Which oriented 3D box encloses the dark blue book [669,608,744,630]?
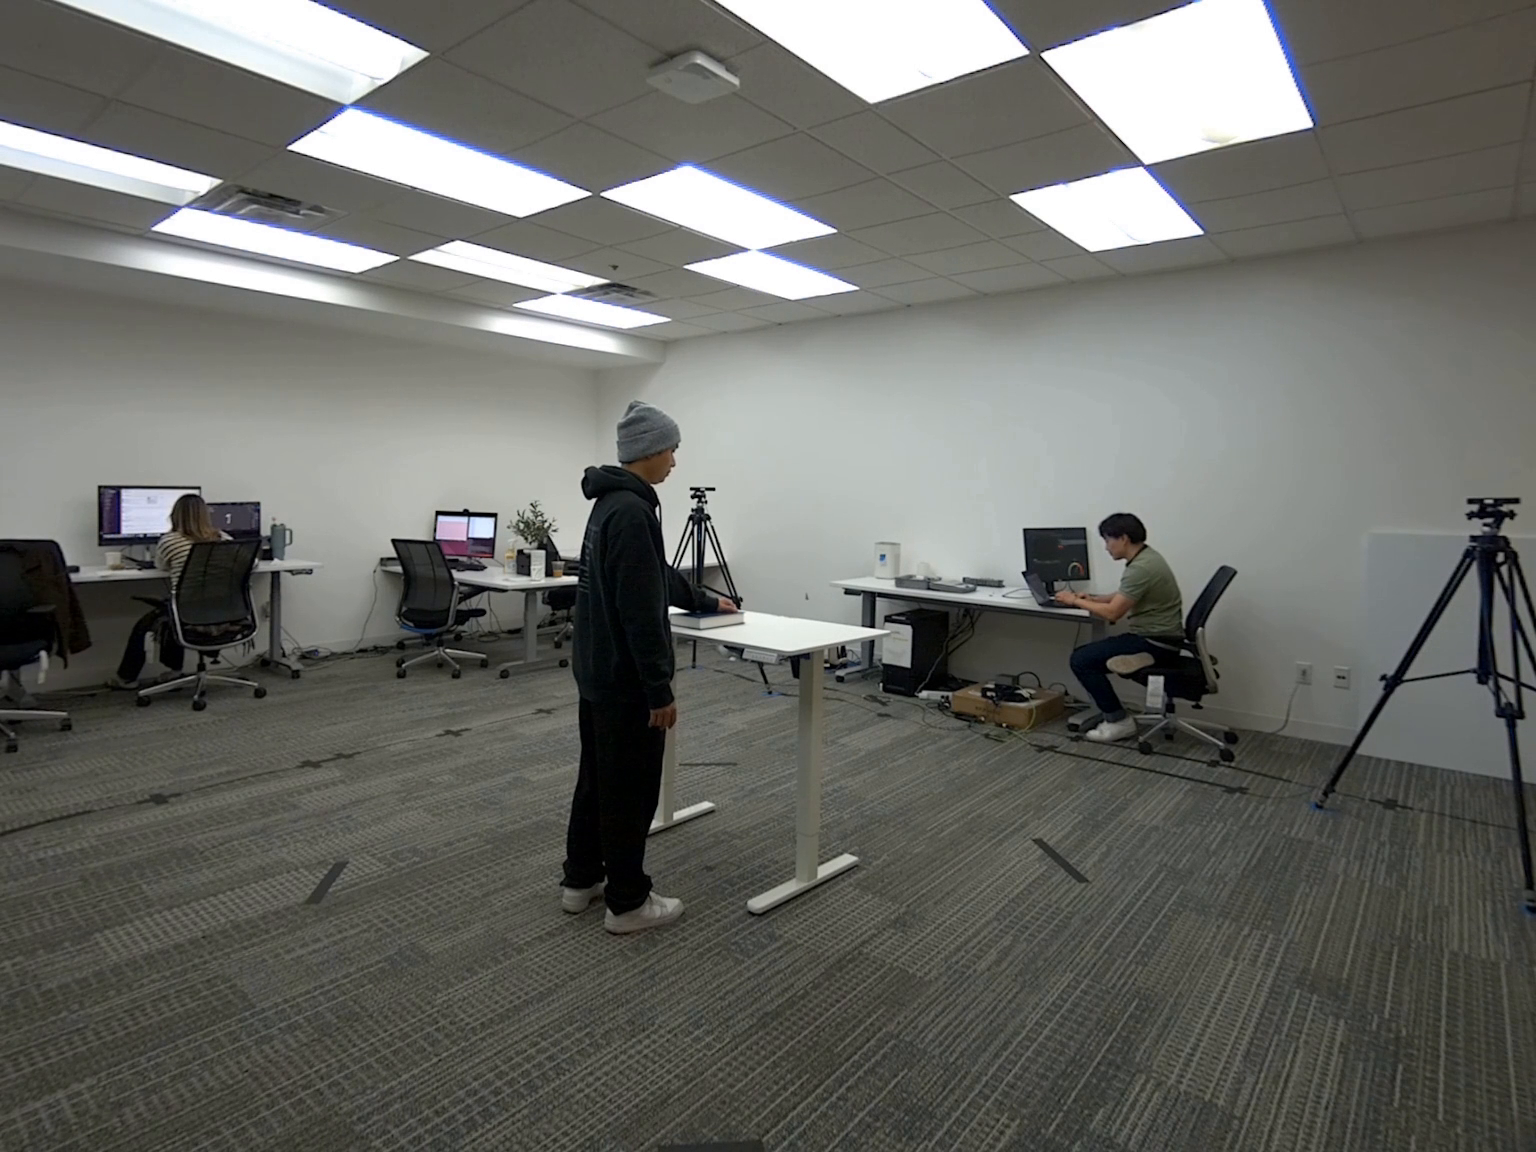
[{"bbox_3d":[-0.238,0.158,3.150,0.169,0.045,0.238,4,5,40],"label":"dark blue book"}]
